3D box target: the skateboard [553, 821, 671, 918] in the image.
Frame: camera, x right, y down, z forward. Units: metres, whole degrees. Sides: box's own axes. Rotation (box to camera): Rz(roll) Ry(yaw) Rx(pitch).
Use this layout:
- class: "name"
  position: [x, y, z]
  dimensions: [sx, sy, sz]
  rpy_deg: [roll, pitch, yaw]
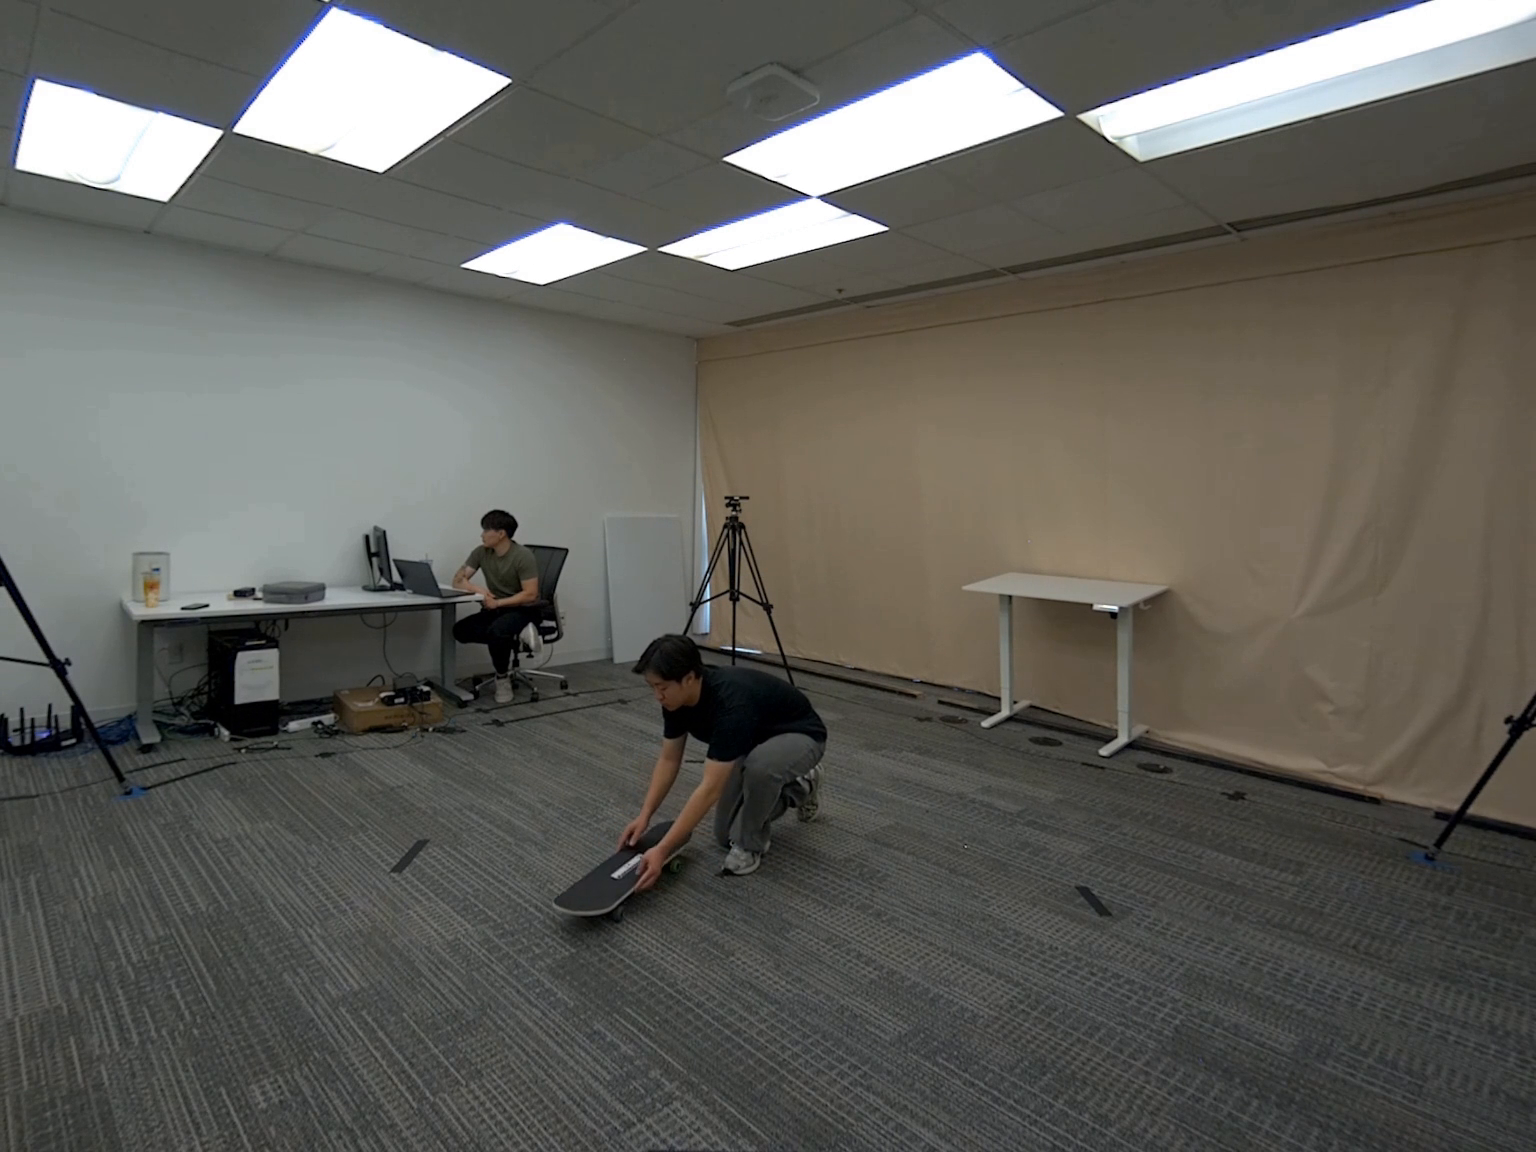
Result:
- class: "skateboard"
  position: [-0.493, 1.048, 2.955]
  dimensions: [0.197, 0.110, 0.774]
  rpy_deg: [3, 5, 20]
